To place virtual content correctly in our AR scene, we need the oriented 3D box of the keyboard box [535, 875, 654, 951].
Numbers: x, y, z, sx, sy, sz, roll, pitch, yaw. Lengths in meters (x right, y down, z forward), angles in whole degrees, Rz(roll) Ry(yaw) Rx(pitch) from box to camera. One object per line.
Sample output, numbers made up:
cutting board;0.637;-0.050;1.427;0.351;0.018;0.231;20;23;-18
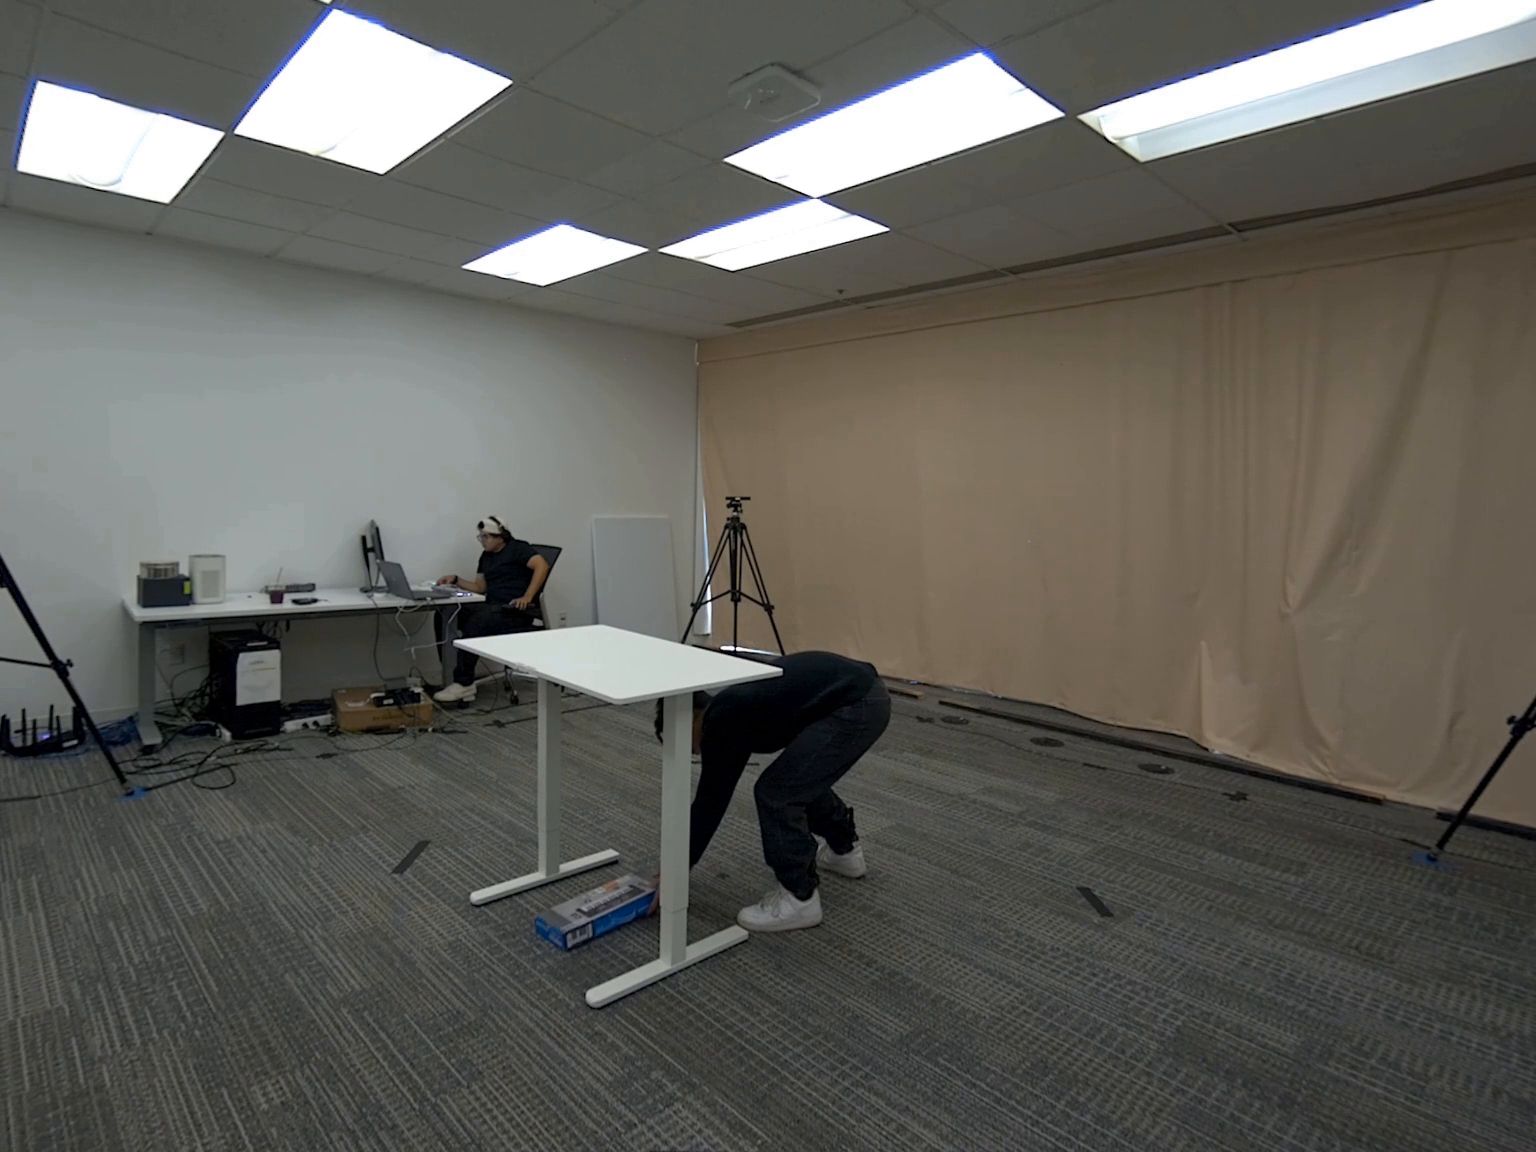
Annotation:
keyboard box;-0.534;1.083;2.758;0.428;0.059;0.180;-8;7;-44
